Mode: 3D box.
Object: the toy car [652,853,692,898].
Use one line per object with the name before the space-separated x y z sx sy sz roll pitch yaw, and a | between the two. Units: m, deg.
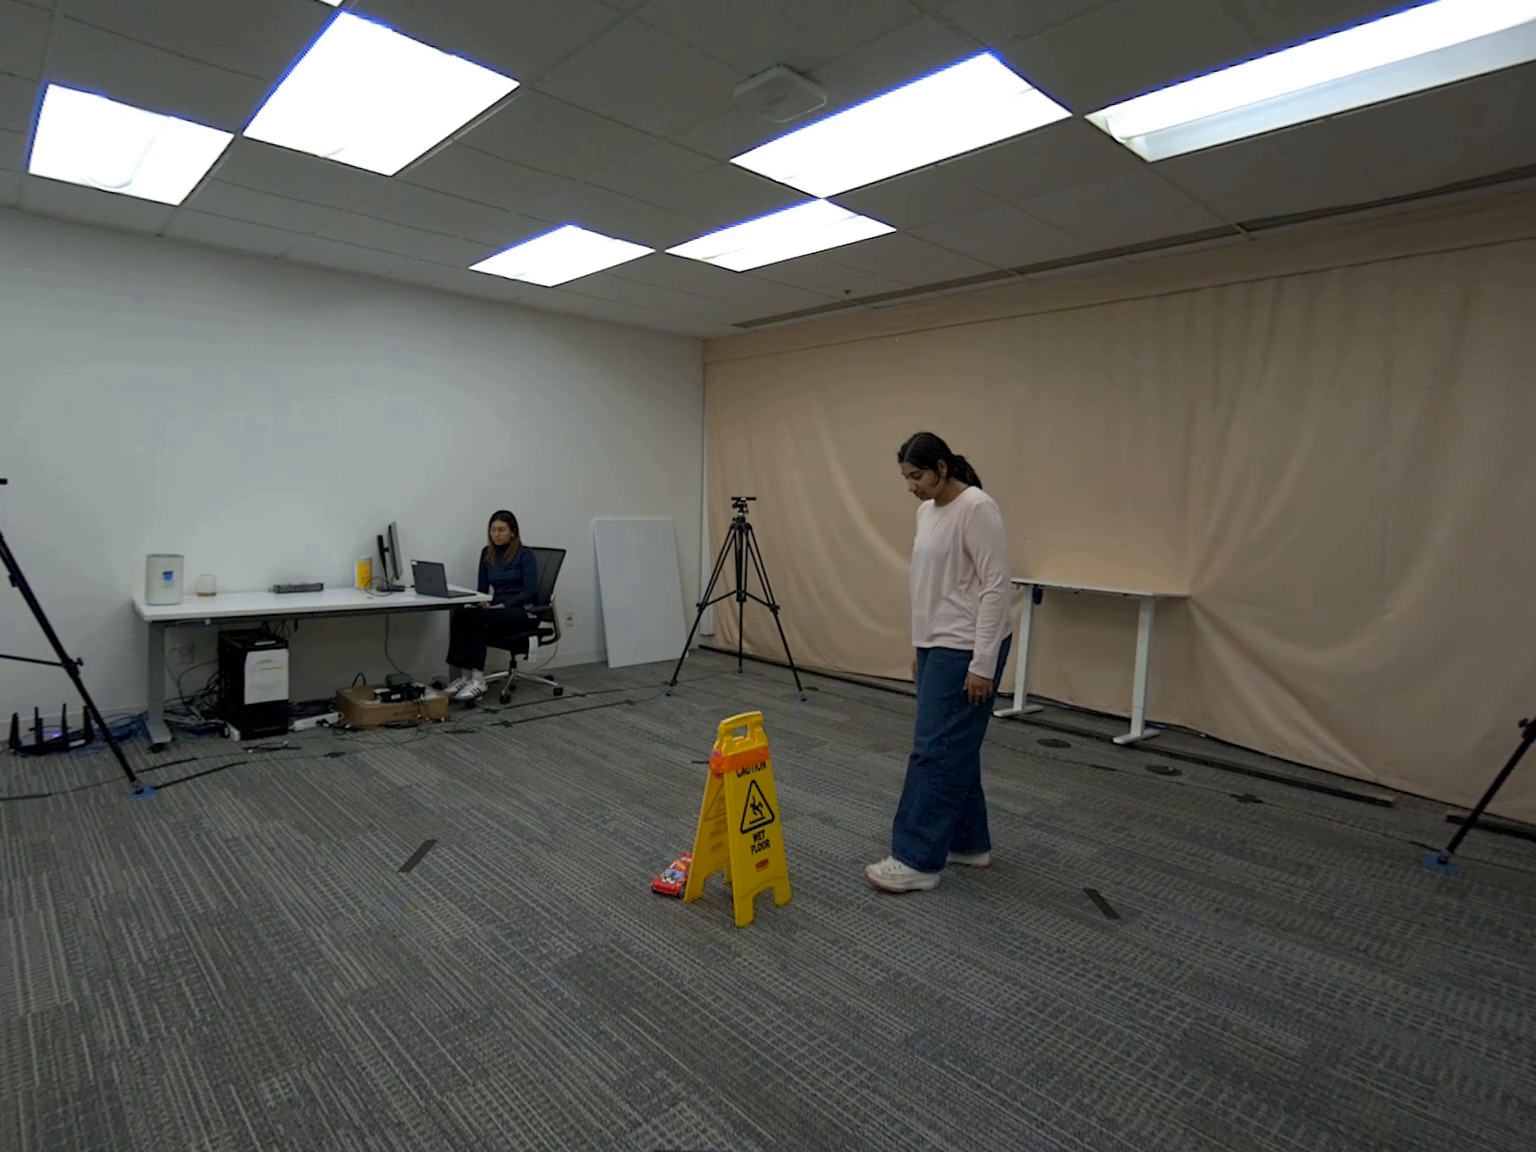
toy car | -0.319 1.075 3.034 0.132 0.082 0.253 0 16 22
